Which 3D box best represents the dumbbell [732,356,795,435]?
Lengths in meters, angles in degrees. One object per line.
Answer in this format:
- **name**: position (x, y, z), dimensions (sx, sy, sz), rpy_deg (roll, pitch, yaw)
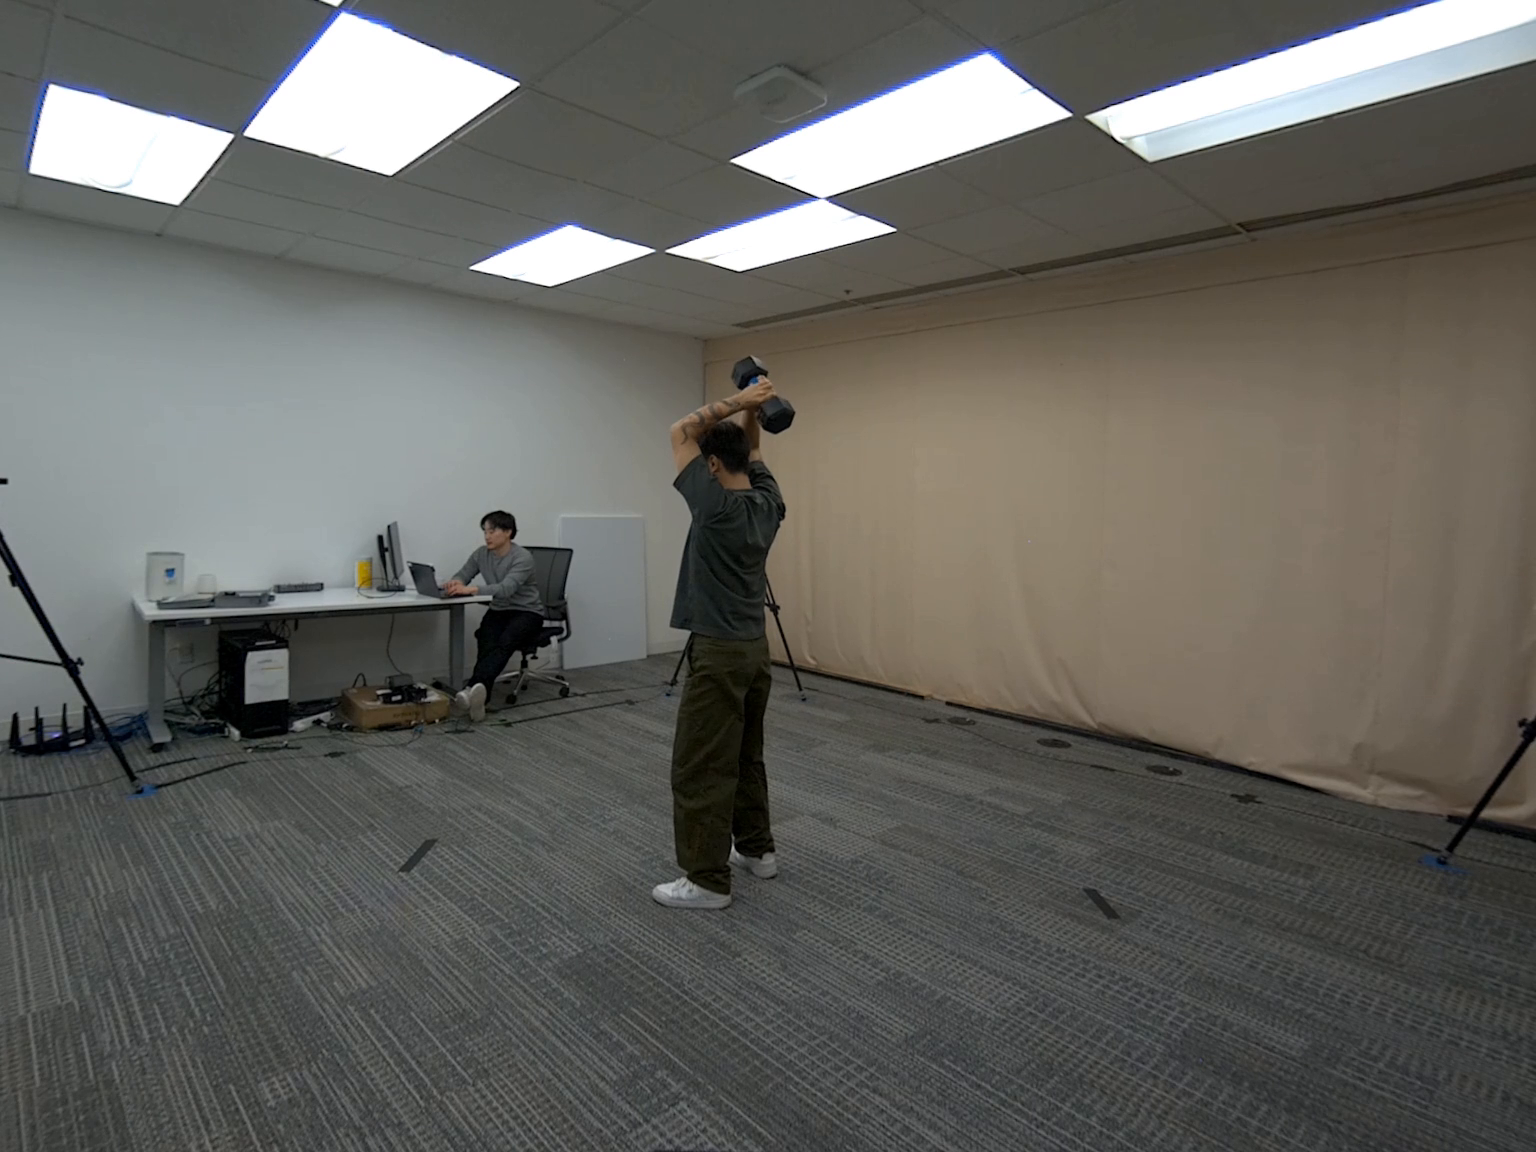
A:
- **dumbbell**: position (-0.029, -0.619, 2.866), dimensions (0.107, 0.302, 0.121), rpy_deg (-14, -35, -24)
